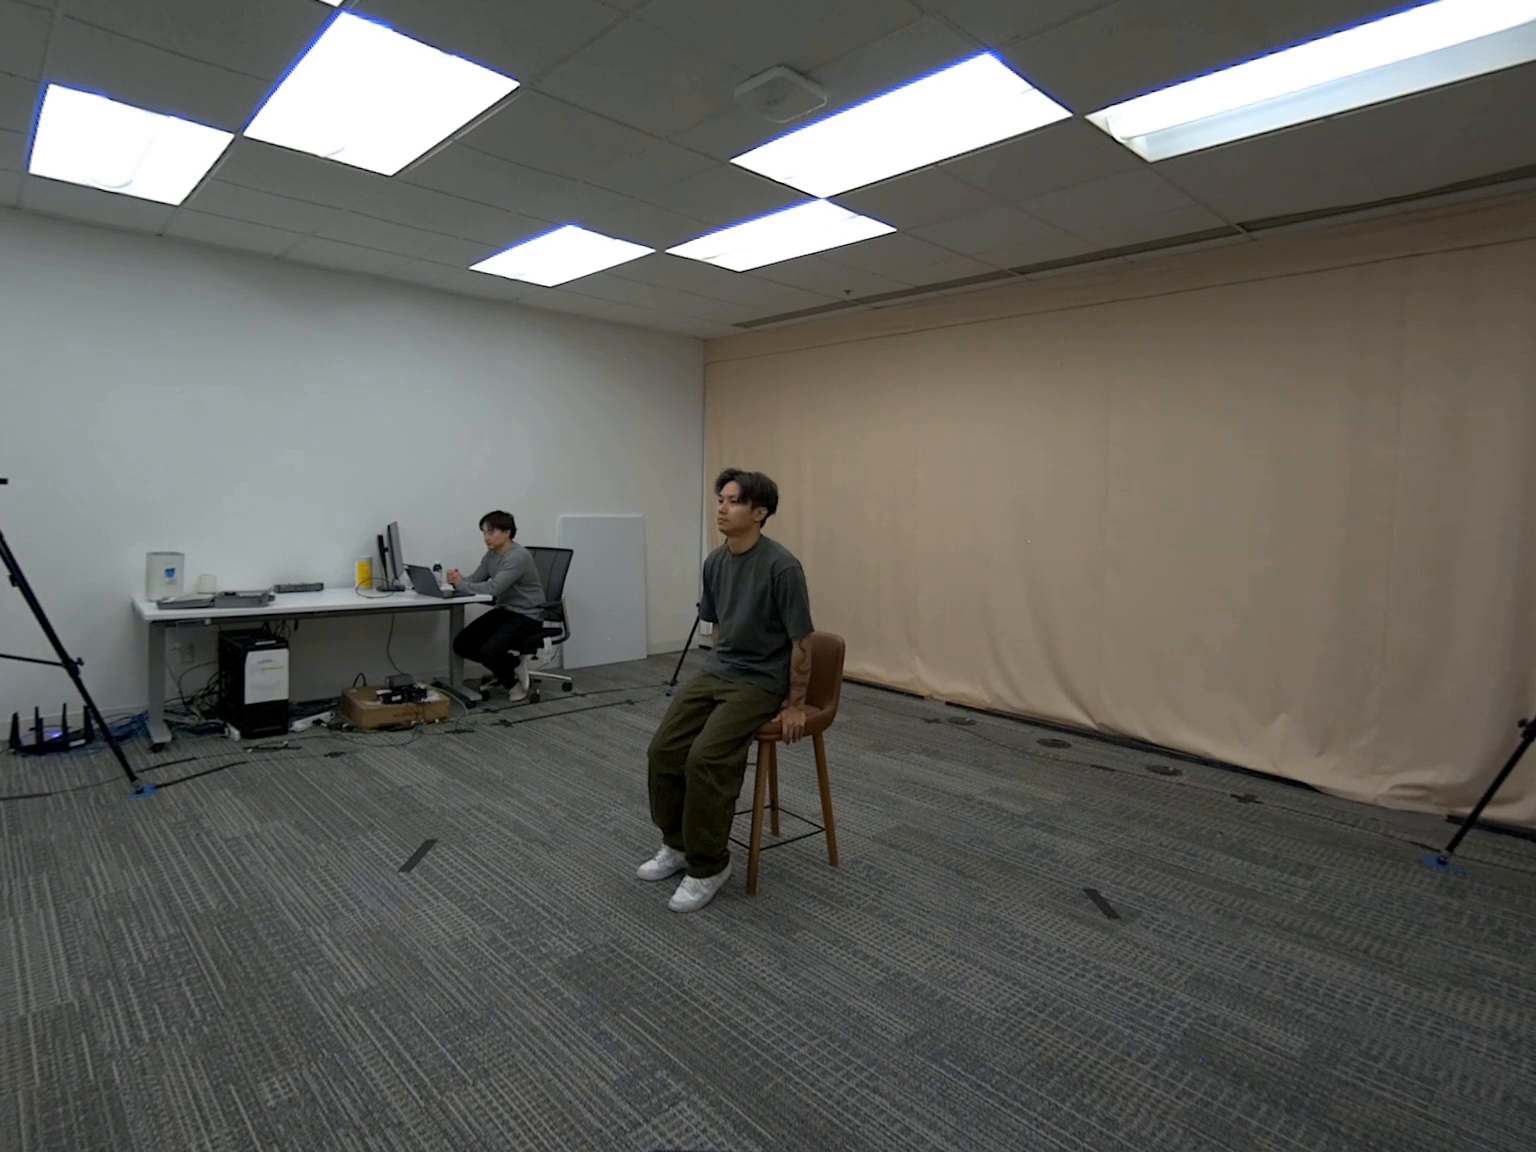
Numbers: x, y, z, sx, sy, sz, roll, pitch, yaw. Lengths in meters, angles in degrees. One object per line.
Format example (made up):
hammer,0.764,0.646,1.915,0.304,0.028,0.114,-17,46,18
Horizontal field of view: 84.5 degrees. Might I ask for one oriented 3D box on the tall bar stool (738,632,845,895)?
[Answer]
tall bar stool,-0.004,0.664,3.219,0.456,0.888,0.468,1,3,-39
